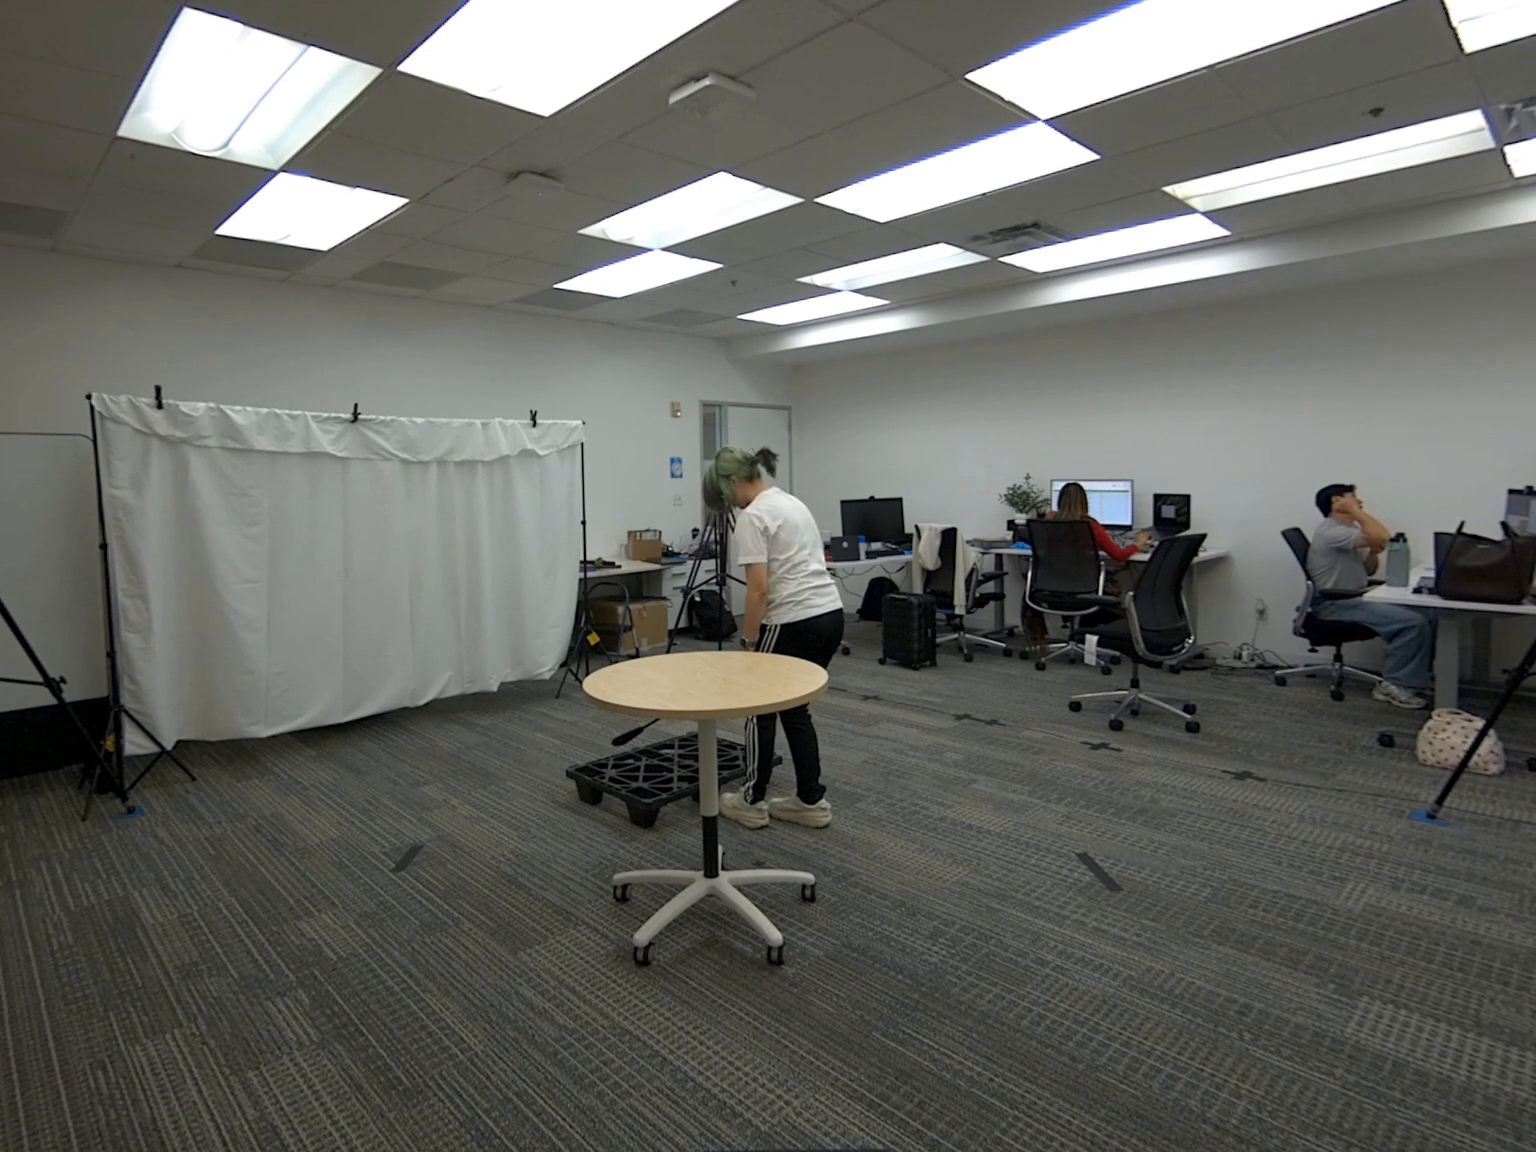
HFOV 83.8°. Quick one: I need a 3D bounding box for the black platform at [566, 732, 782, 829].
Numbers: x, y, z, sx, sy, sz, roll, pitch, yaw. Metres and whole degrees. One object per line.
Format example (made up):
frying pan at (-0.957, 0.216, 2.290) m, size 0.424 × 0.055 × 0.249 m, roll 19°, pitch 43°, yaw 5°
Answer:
black platform at (-0.416, 0.905, 3.857) m, size 0.623 × 0.143 × 0.784 m, roll 4°, pitch 8°, yaw 45°
